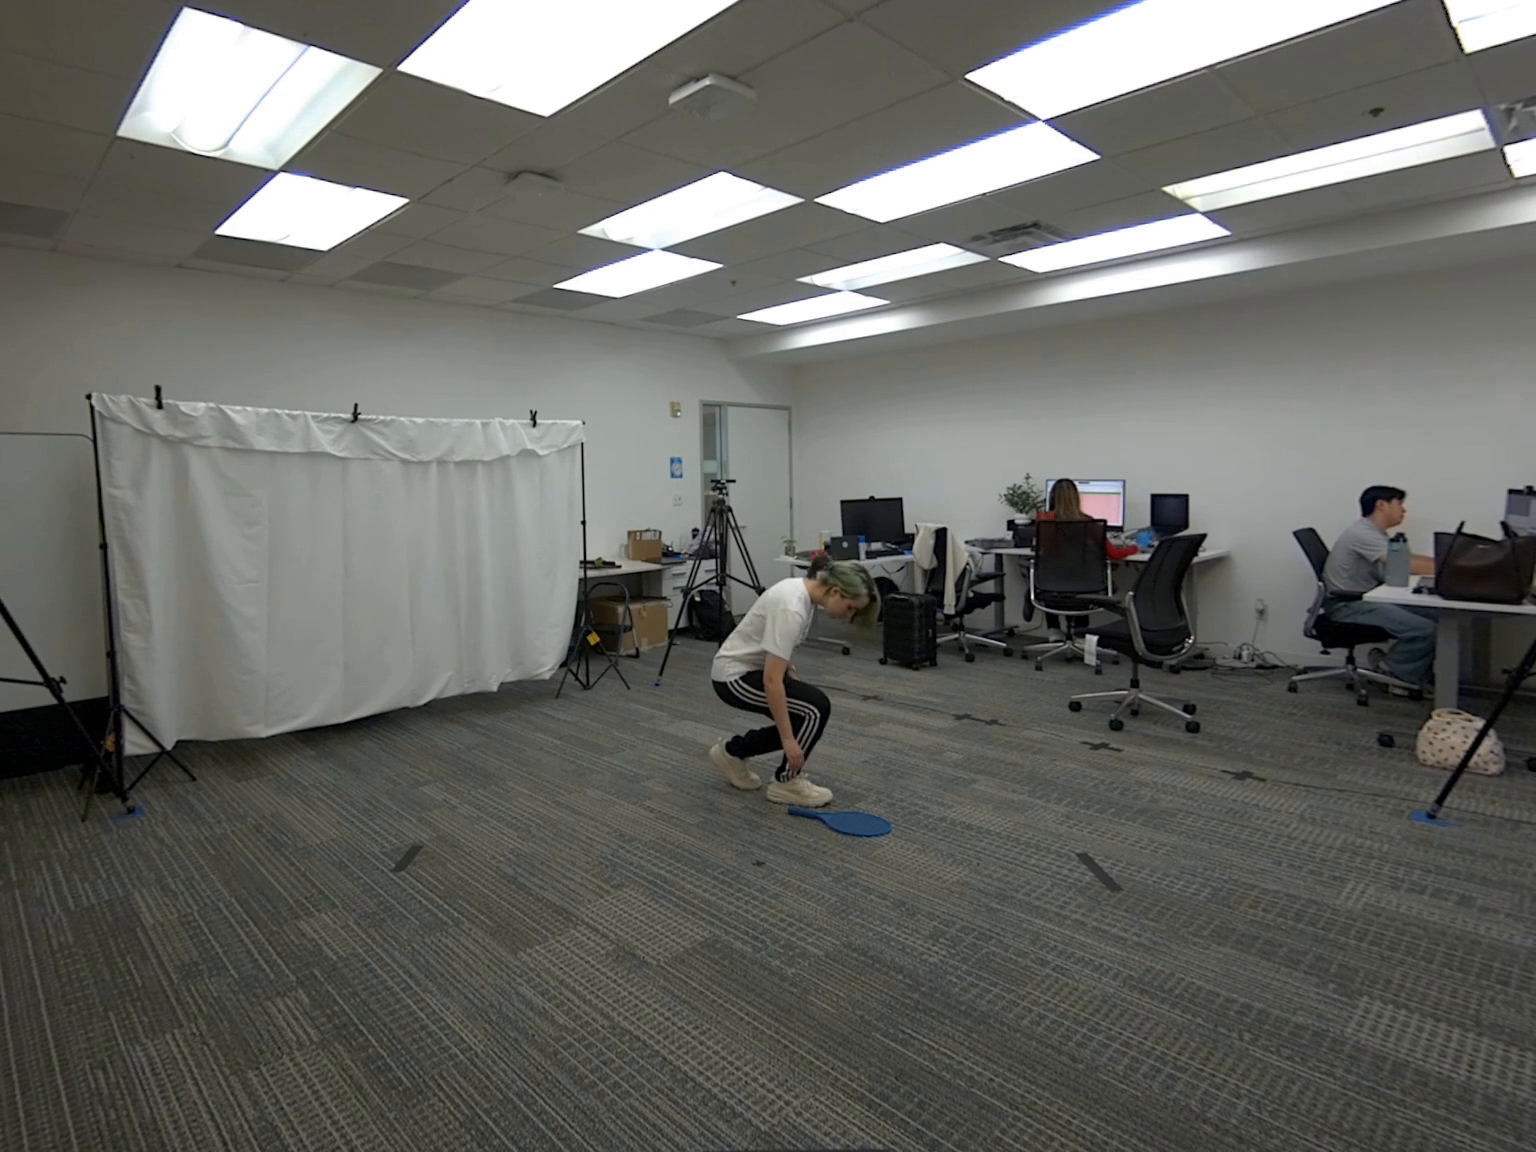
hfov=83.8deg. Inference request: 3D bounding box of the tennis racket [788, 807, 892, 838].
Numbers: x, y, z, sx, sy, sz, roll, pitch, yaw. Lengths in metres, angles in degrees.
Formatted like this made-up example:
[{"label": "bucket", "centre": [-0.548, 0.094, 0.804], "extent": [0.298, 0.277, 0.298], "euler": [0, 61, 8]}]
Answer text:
[{"label": "tennis racket", "centre": [0.282, 0.984, 3.471], "extent": [0.443, 0.031, 0.209], "euler": [4, 7, 26]}]
